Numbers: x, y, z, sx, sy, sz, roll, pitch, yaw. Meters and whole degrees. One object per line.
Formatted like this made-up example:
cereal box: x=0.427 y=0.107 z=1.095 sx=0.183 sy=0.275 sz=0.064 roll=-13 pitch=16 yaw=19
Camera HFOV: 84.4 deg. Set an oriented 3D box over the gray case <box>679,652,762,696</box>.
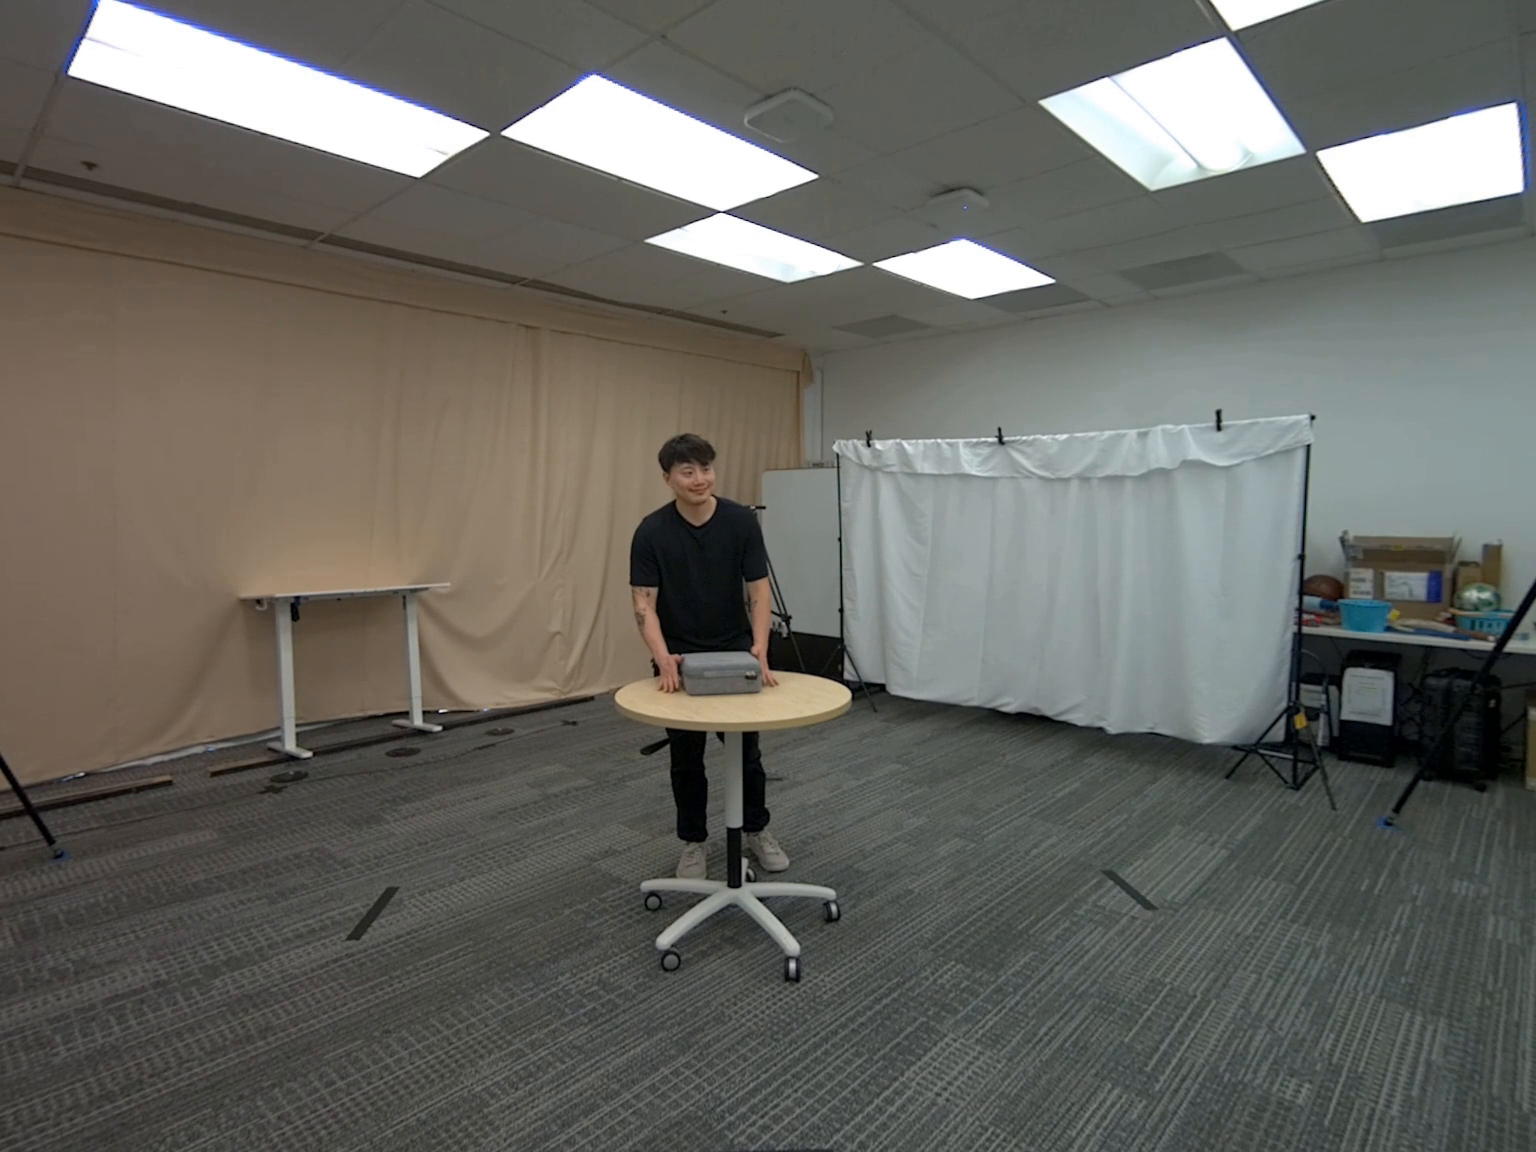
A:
gray case: x=-0.166 y=0.324 z=2.842 sx=0.254 sy=0.104 sz=0.264 roll=-3 pitch=5 yaw=-10
